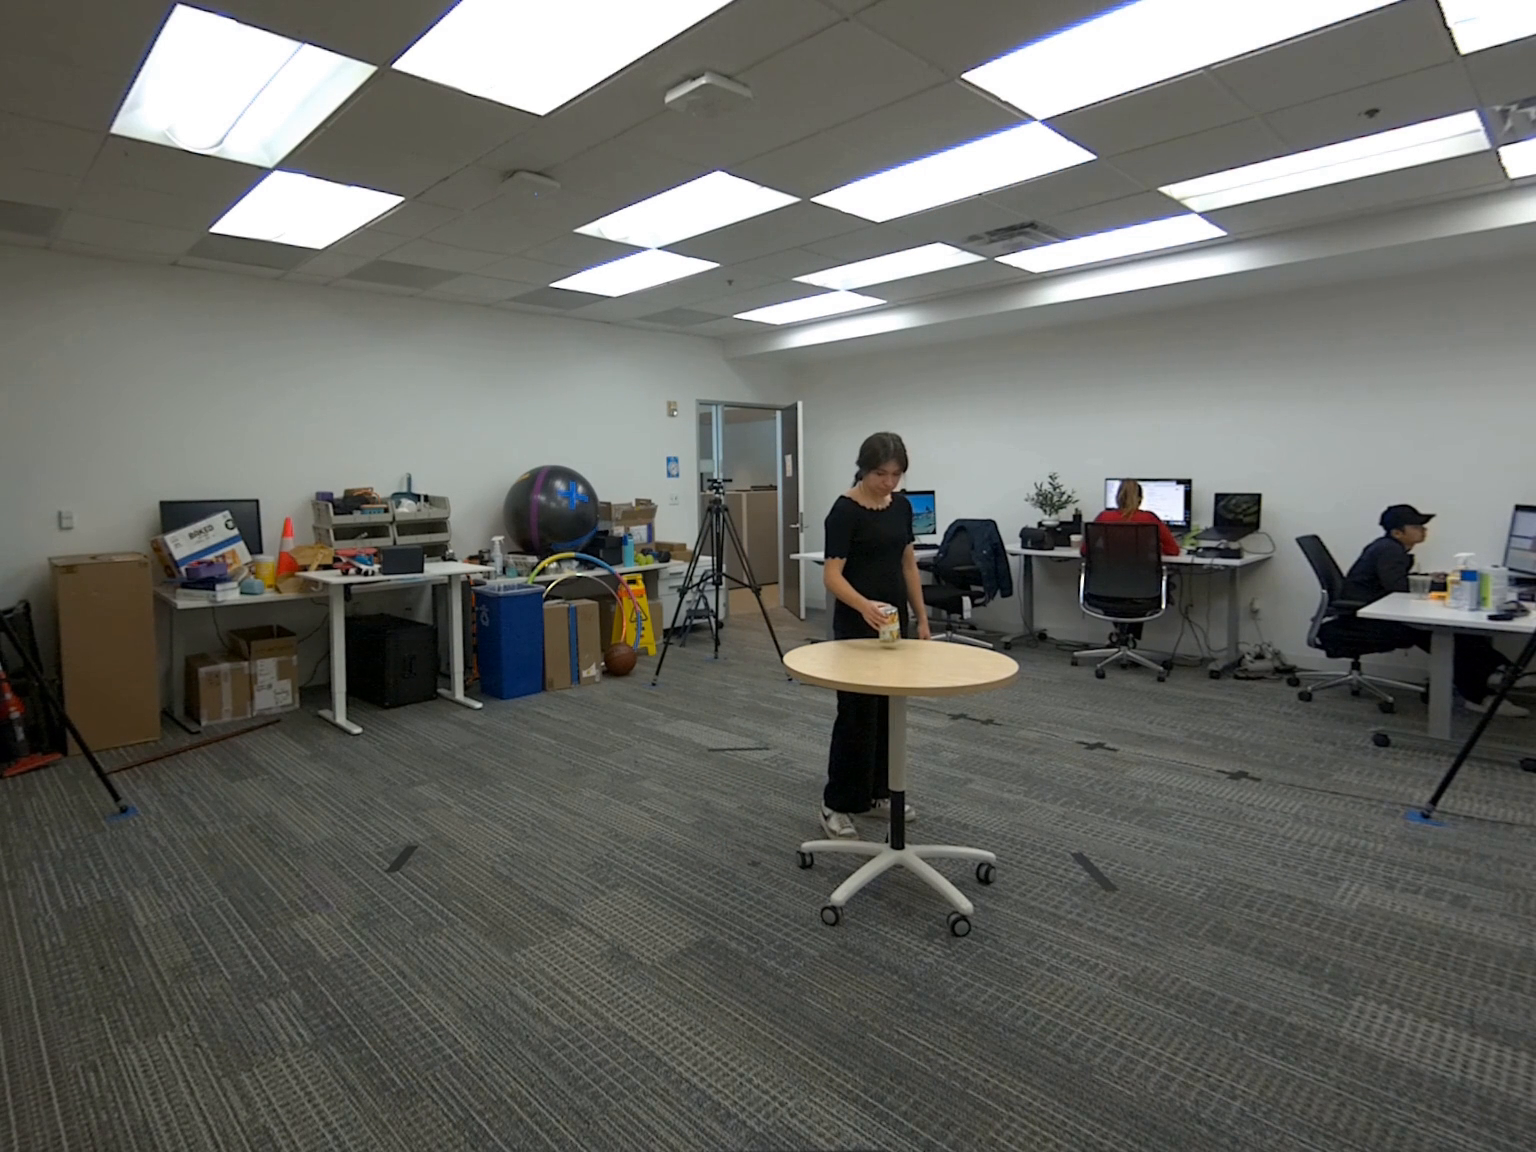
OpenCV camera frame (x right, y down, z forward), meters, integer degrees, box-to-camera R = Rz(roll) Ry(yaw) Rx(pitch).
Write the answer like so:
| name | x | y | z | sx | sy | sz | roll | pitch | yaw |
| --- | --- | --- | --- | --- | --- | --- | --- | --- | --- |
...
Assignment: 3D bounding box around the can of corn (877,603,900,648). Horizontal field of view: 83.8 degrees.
| name | x | y | z | sx | sy | sz | roll | pitch | yaw |
| --- | --- | --- | --- | --- | --- | --- | --- | --- | --- |
| can of corn | 0.420 | 0.177 | 3.041 | 0.074 | 0.110 | 0.075 | -2 | 6 | -1 |
